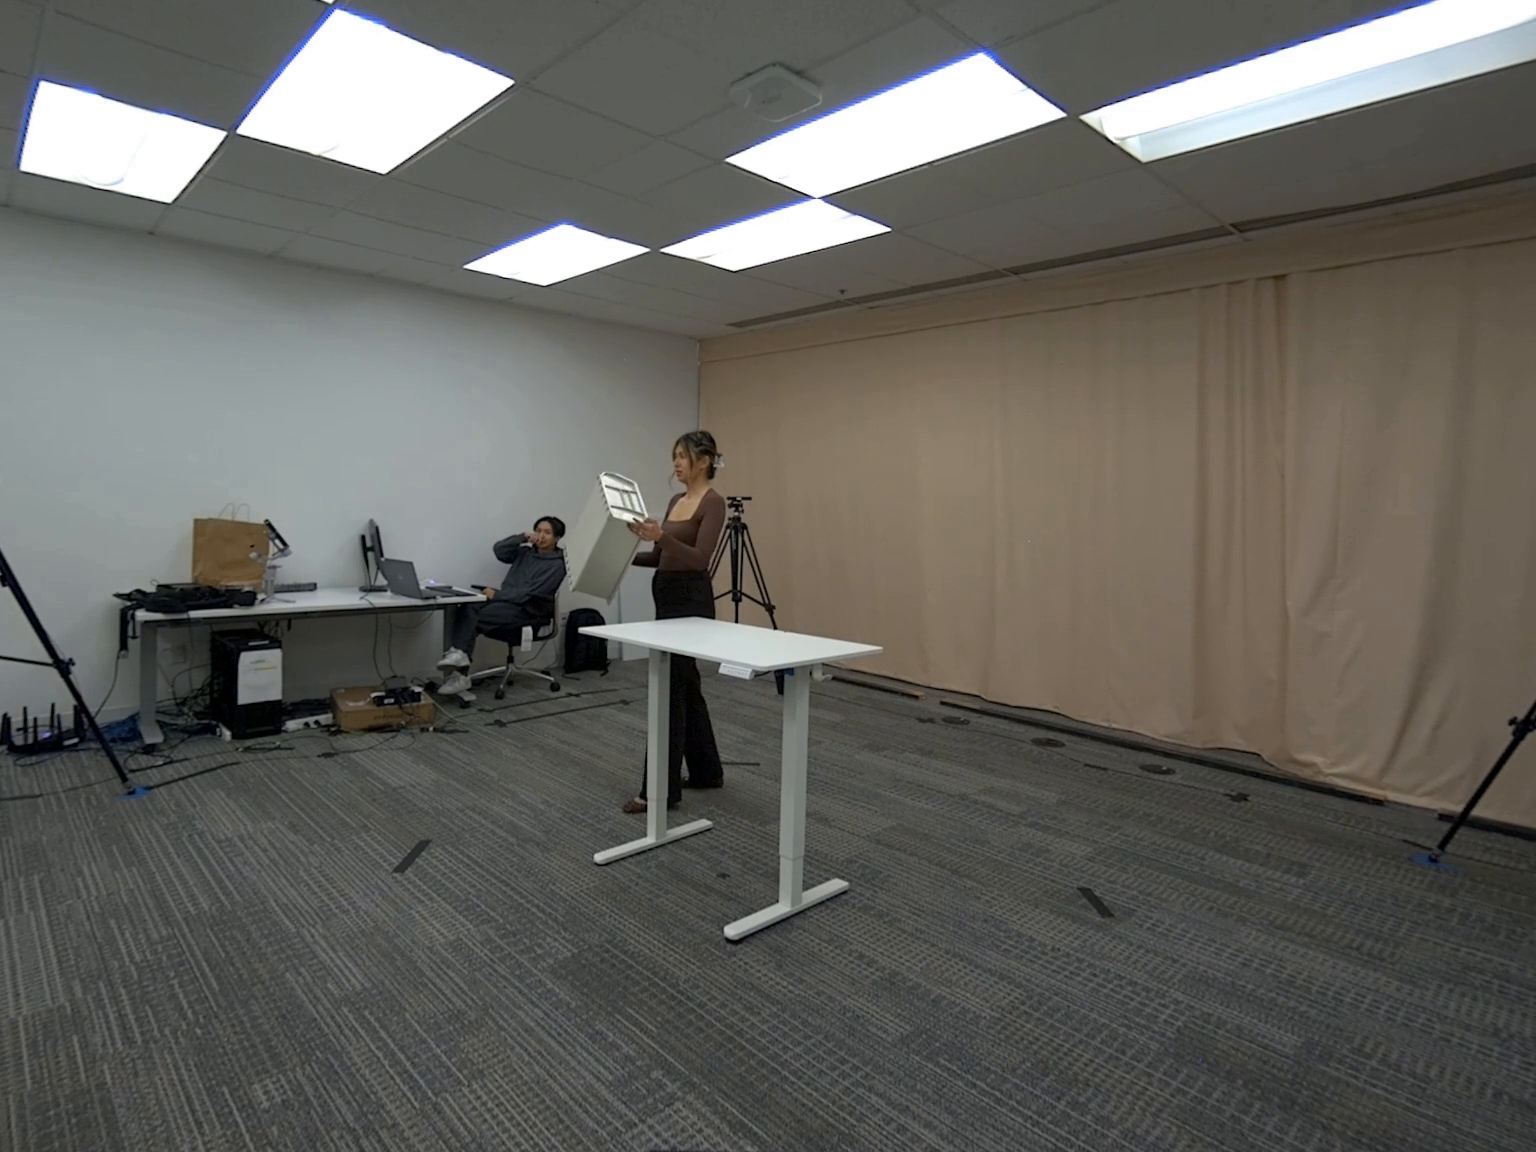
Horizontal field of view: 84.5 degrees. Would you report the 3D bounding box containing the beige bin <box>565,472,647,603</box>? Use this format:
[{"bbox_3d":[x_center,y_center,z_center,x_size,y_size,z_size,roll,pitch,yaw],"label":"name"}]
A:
[{"bbox_3d":[-0.705,-0.173,3.592,0.184,0.420,0.388,17,27,-27],"label":"beige bin"}]
